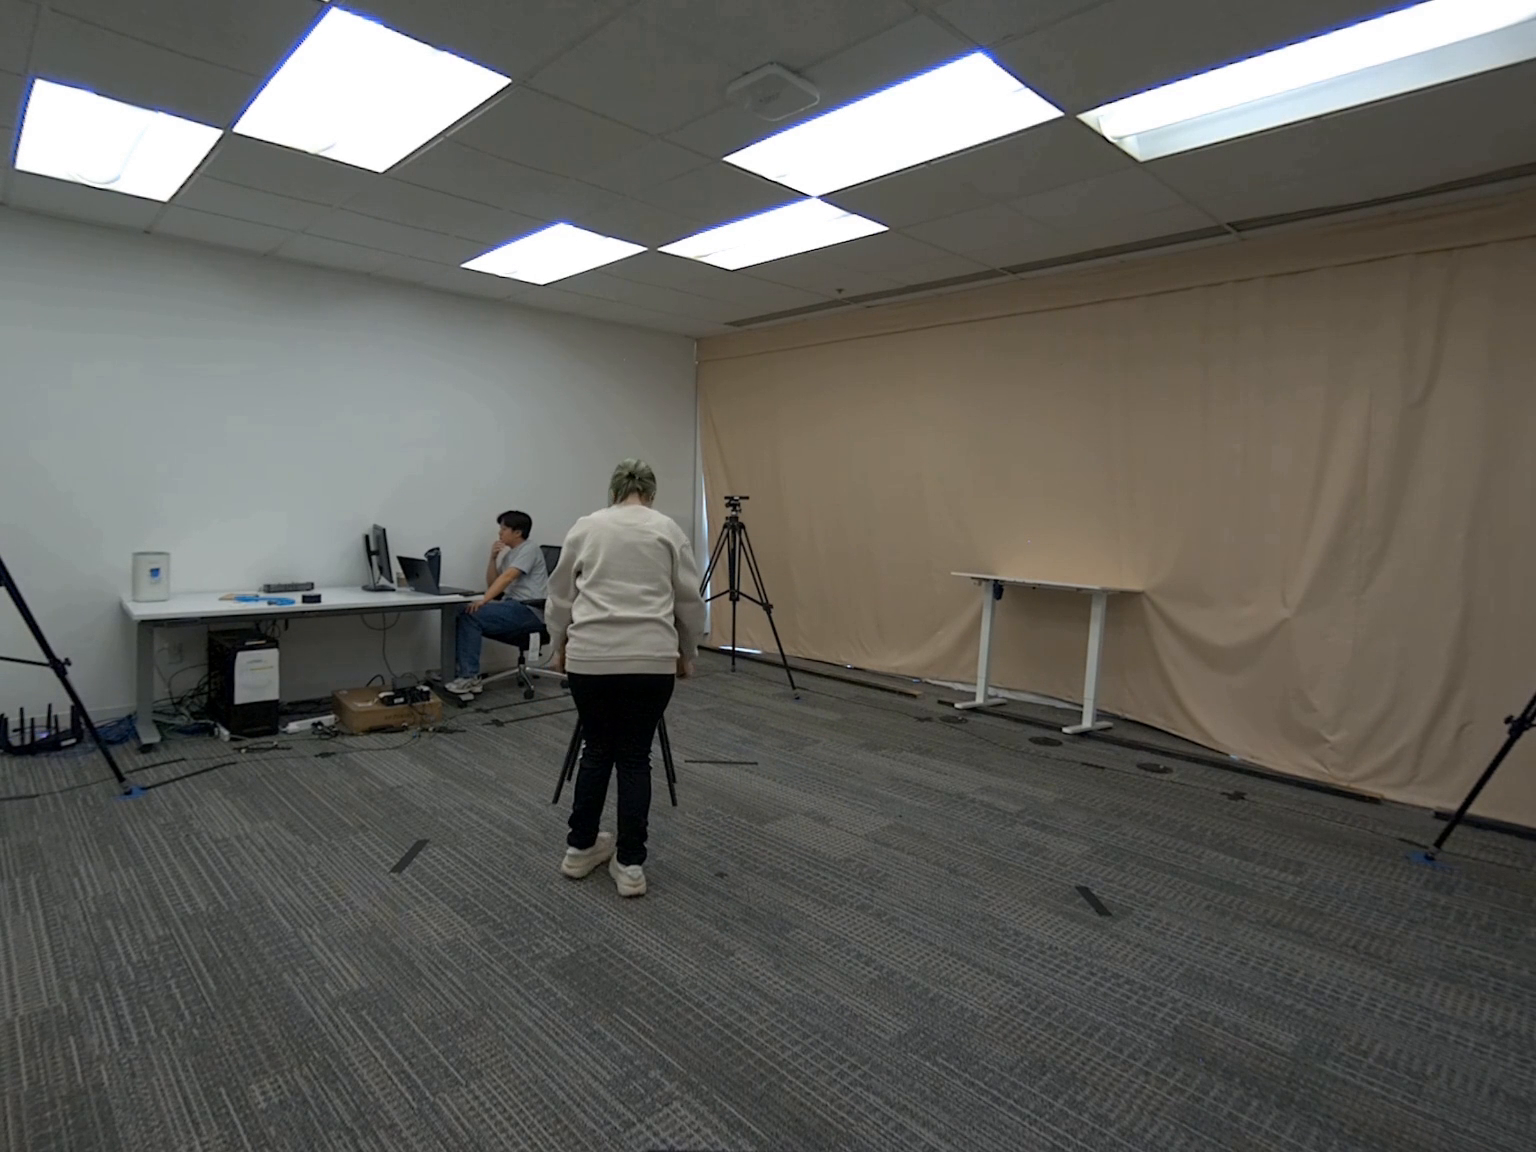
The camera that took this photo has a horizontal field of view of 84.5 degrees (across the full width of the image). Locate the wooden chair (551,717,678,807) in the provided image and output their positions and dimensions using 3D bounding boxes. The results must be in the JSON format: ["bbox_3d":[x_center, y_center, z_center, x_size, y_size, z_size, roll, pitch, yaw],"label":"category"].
[{"bbox_3d":[-0.567,0.422,3.314,0.475,0.878,0.526,2,0,-7],"label":"wooden chair"}]
